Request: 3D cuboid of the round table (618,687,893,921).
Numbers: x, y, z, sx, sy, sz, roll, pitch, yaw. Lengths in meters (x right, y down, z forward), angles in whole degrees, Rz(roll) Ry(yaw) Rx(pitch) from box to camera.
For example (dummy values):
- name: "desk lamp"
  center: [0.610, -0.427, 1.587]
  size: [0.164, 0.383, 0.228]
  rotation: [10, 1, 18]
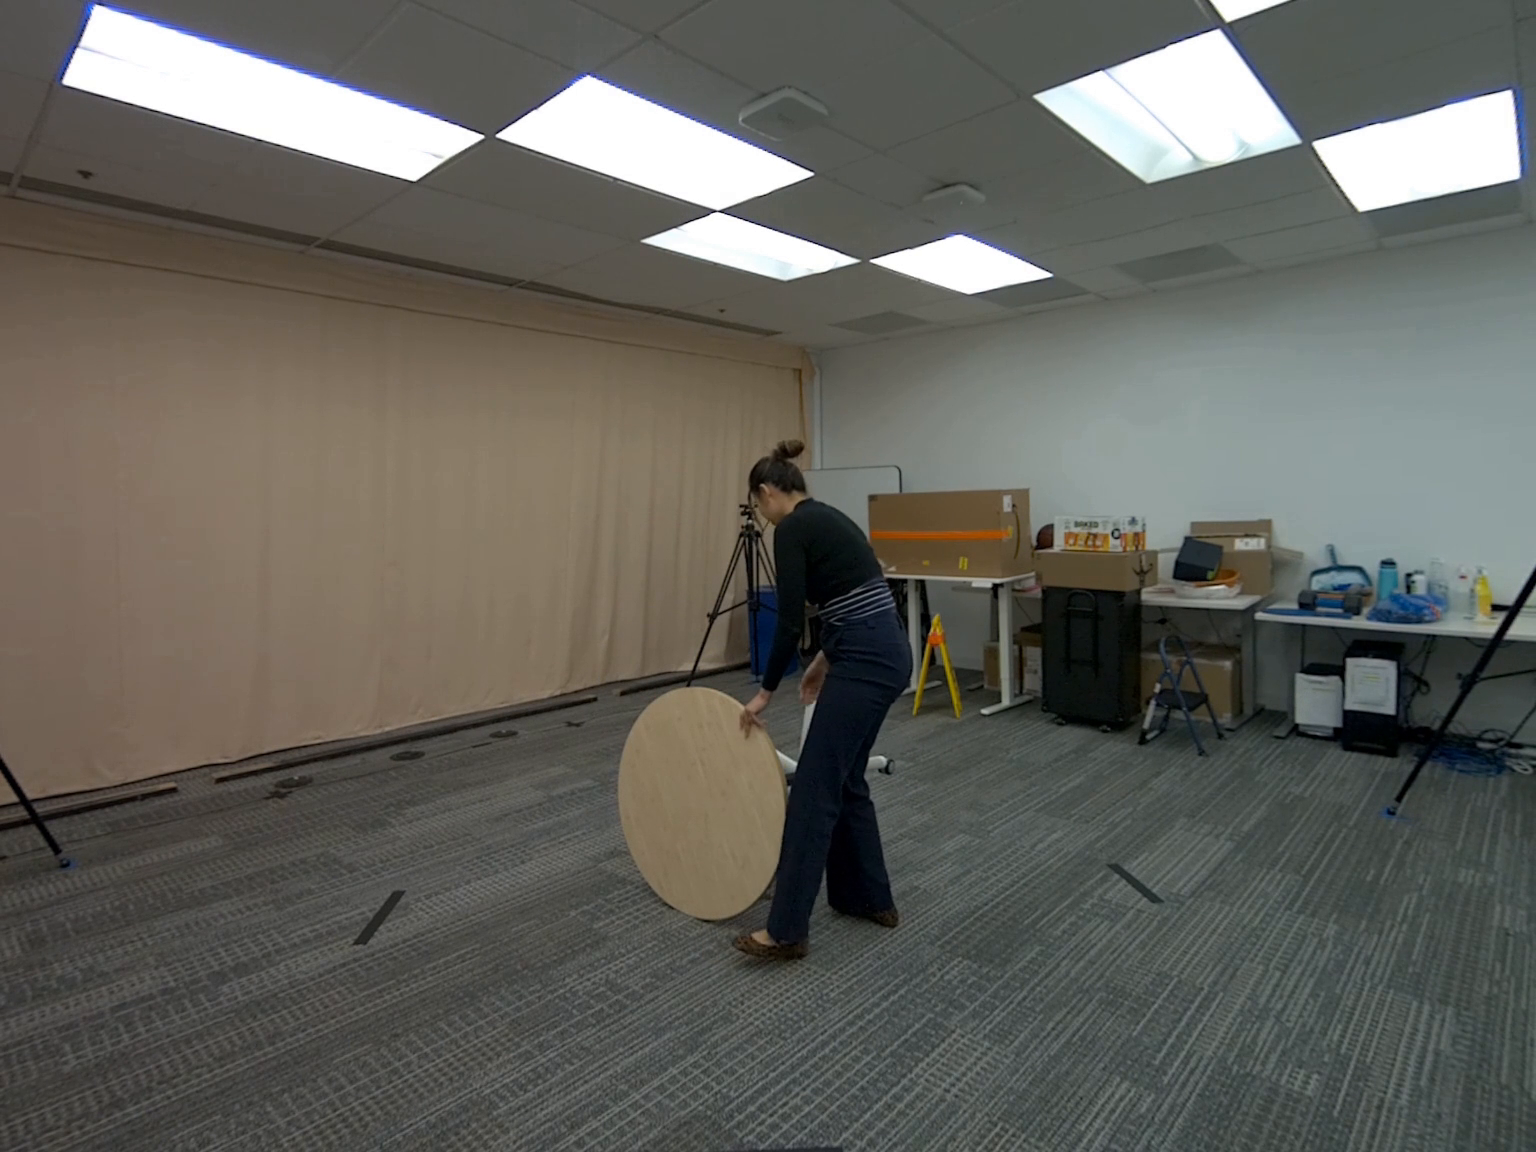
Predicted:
- name: "round table"
  center: [-0.009, 0.796, 3.180]
  size: [0.789, 0.765, 0.767]
  rotation: [2, -2, 39]
